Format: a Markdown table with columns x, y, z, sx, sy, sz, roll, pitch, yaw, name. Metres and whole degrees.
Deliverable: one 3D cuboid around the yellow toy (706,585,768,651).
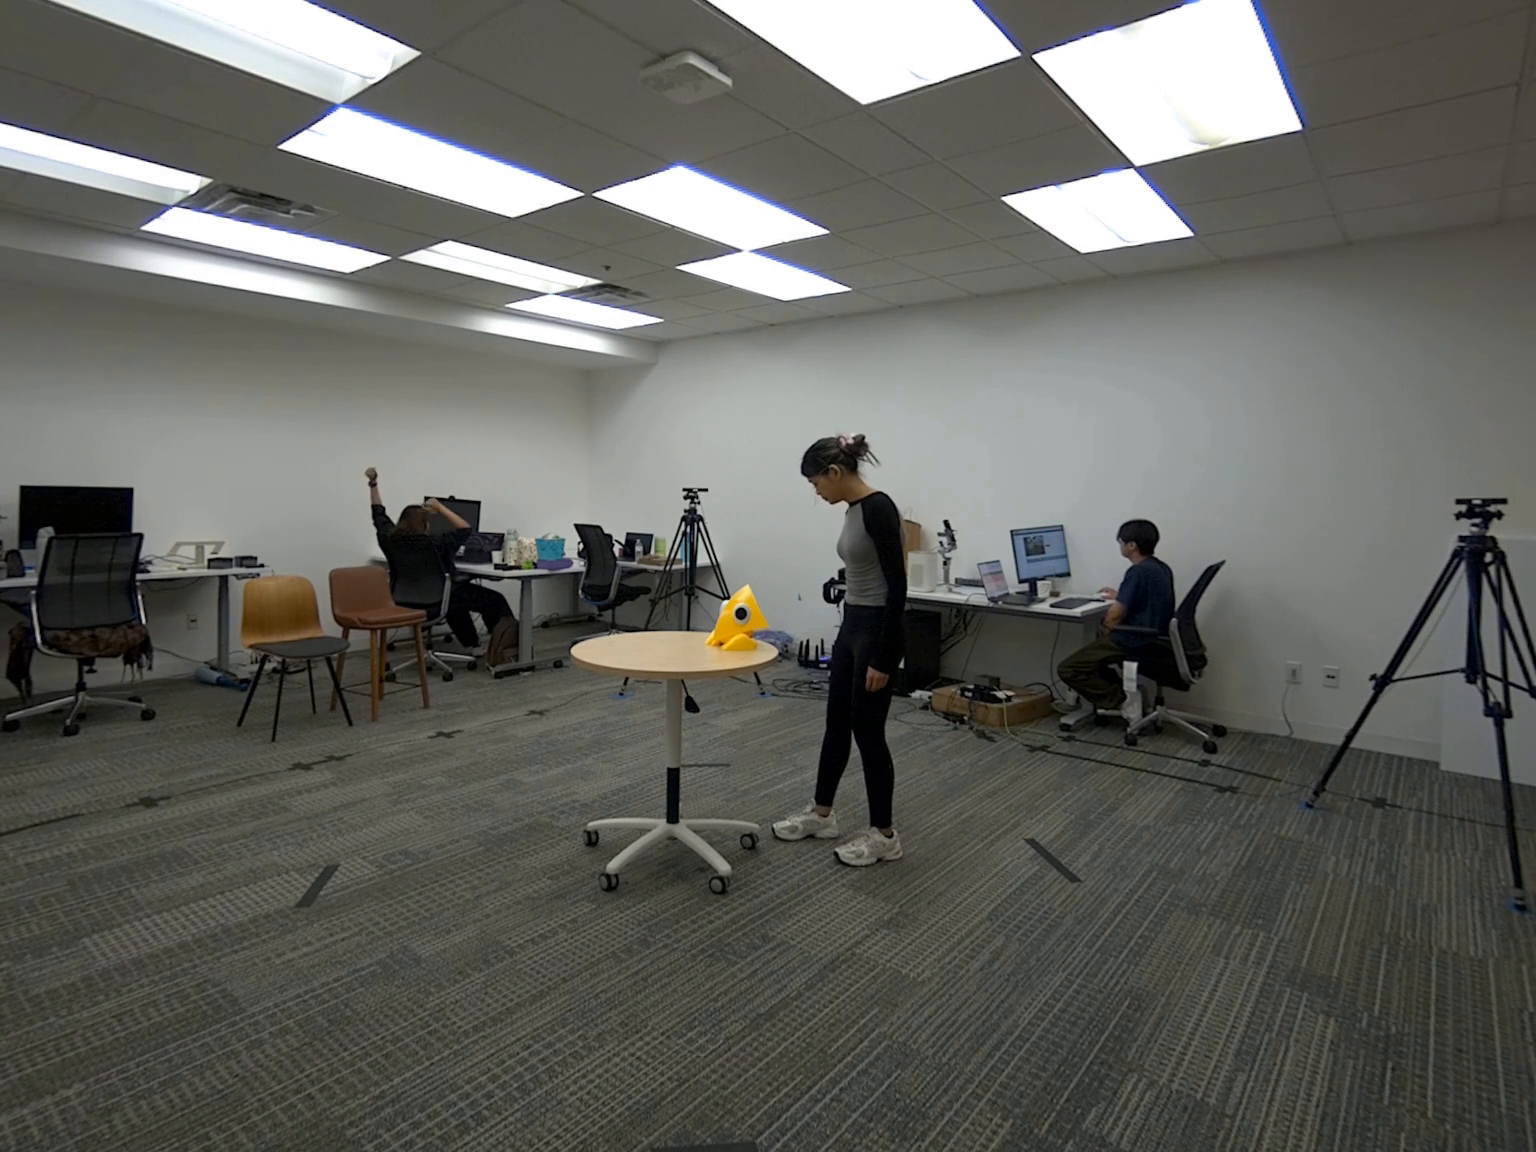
| x | y | z | sx | sy | sz | roll | pitch | yaw | name |
| --- | --- | --- | --- | --- | --- | --- | --- | --- | --- |
| -0.137 | 0.147 | 3.252 | 0.188 | 0.230 | 0.211 | -2 | 5 | -34 | yellow toy |
